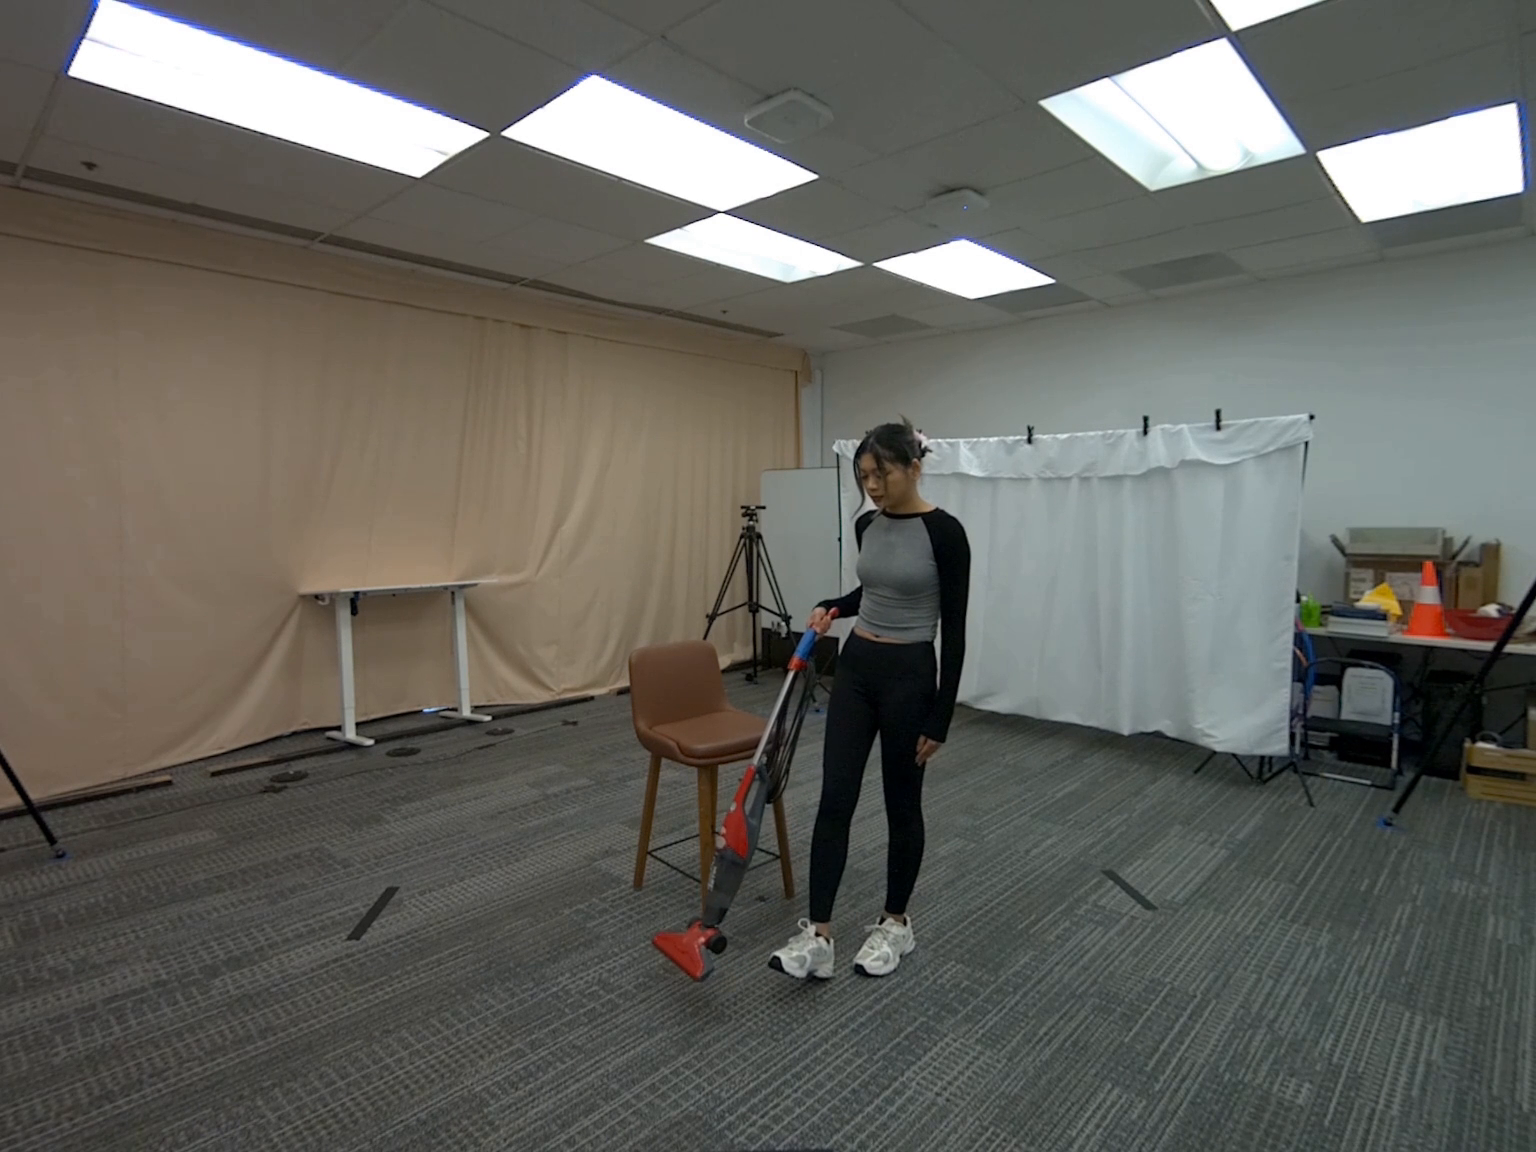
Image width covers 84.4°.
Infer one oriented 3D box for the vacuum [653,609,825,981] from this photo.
[{"bbox_3d":[-0.012,0.599,2.477,0.261,1.052,0.139,3,-26,49],"label":"vacuum"}]
